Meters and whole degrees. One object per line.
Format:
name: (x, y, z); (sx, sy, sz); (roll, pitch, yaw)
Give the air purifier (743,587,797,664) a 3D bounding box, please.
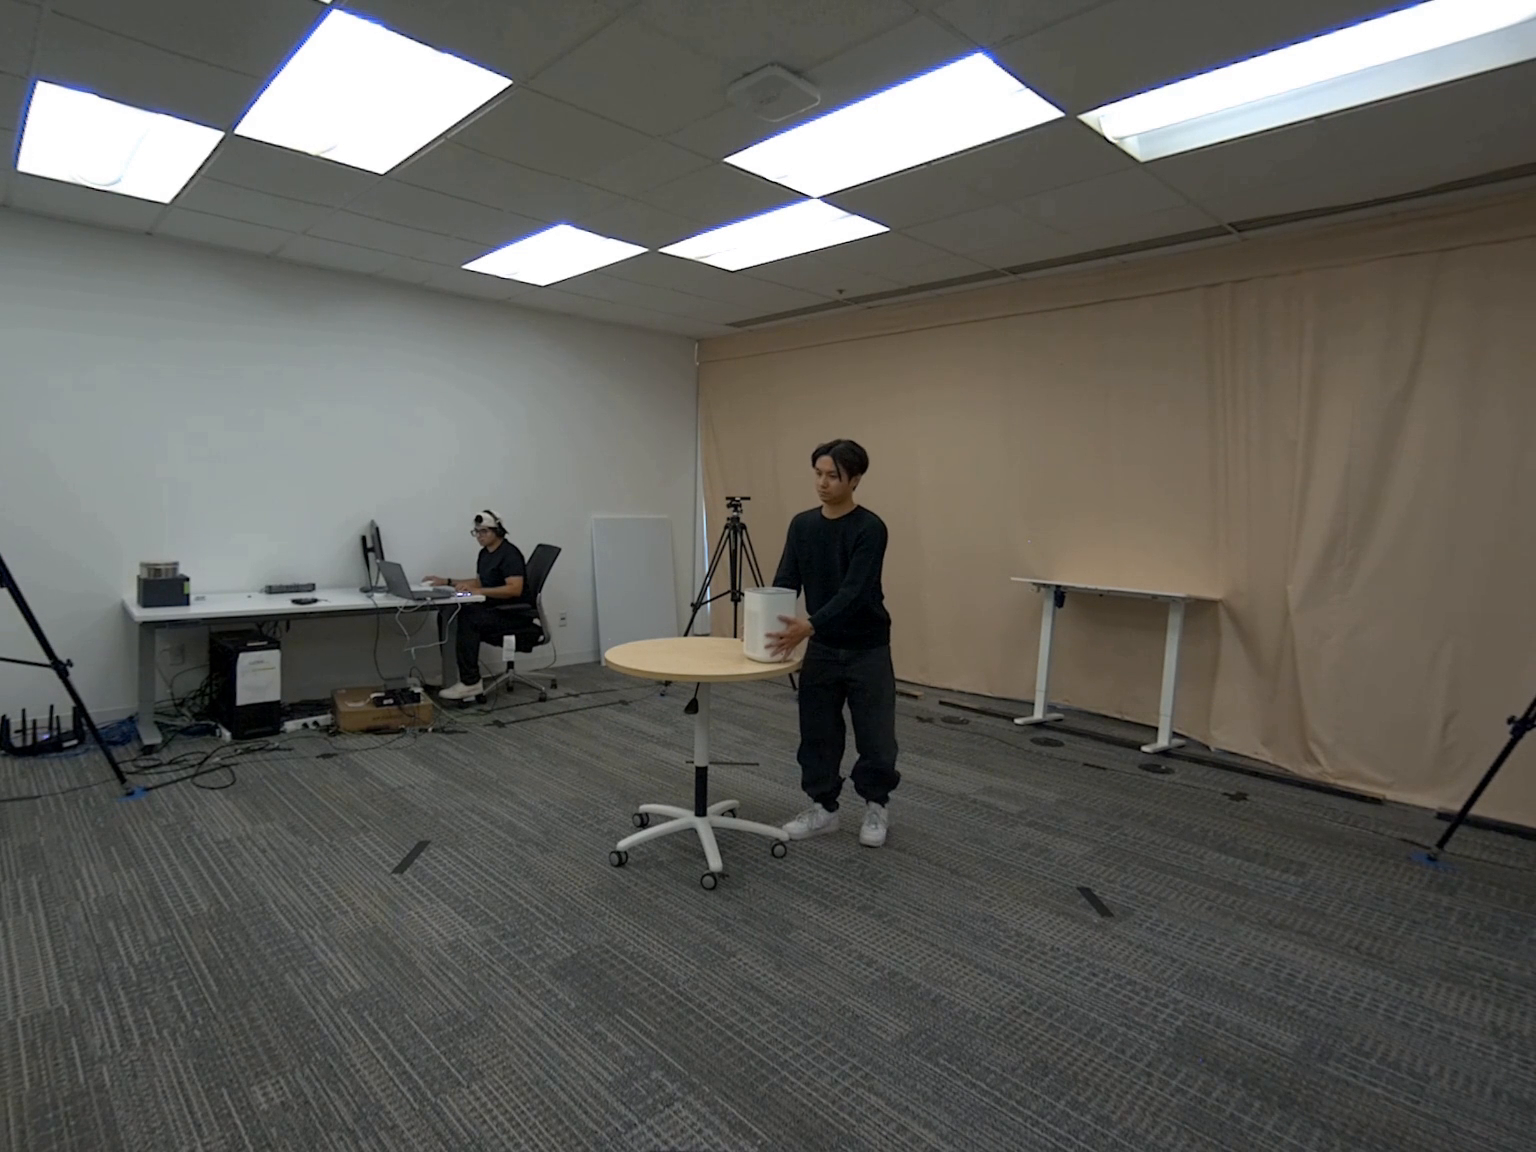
air purifier: (-0.001, 0.182, 3.200); (0.167, 0.265, 0.175); (1, 3, -33)
